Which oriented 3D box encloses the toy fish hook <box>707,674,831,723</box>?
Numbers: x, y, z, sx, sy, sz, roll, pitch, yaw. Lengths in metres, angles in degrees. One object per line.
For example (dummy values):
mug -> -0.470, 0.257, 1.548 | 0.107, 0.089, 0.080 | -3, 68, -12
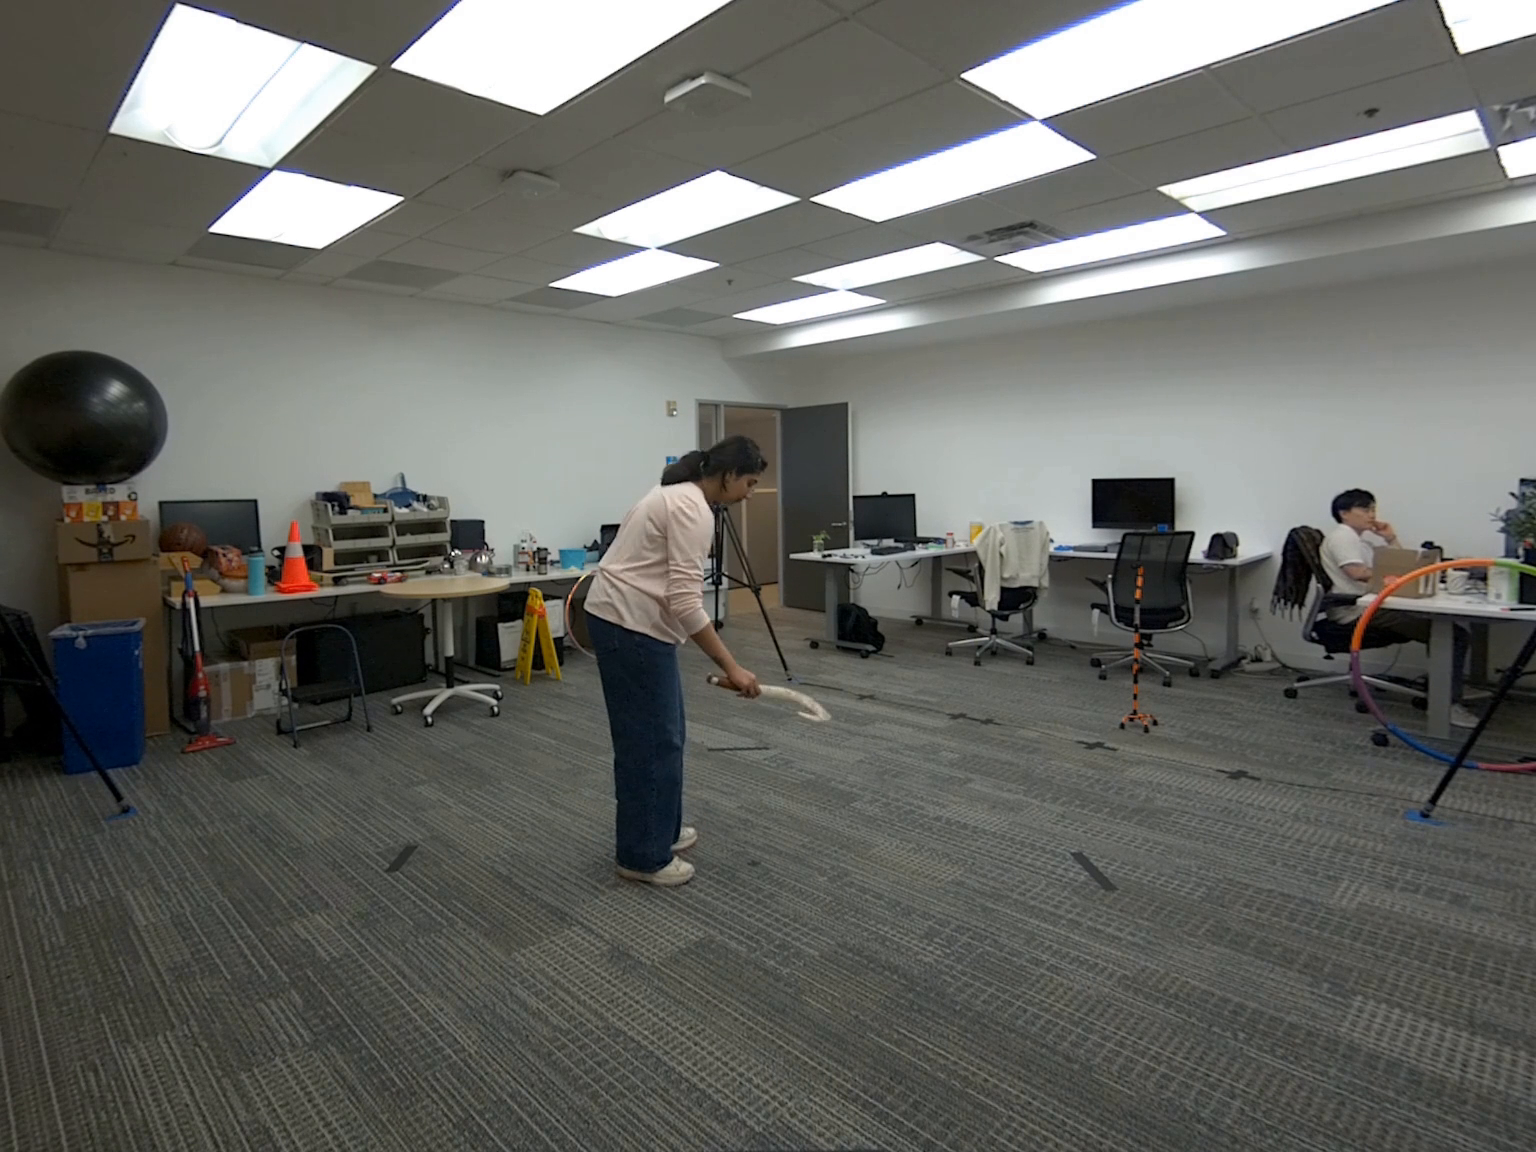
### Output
toy fish hook -> 0.018, 0.417, 2.921 | 0.490, 0.048, 0.233 | 17, 6, -36
